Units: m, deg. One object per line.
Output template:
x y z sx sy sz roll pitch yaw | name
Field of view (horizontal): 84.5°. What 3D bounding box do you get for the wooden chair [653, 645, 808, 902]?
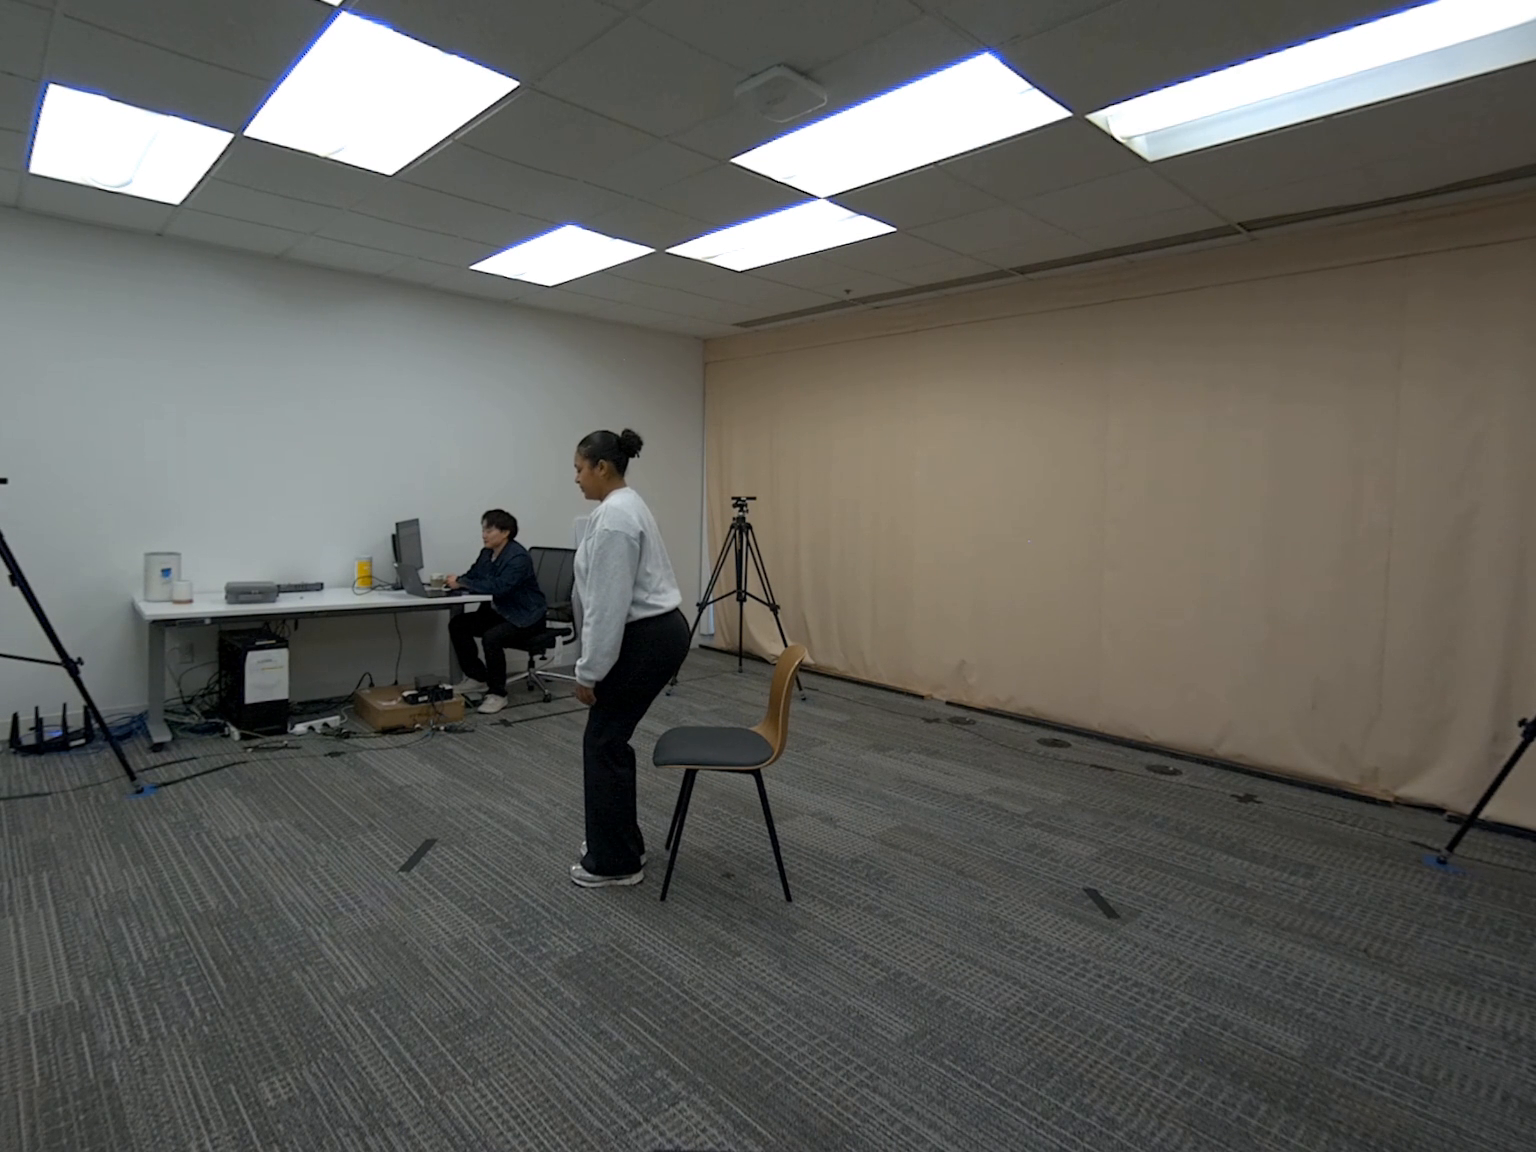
-0.162 0.675 3.089 0.521 0.875 0.481 5 4 -4 | wooden chair
